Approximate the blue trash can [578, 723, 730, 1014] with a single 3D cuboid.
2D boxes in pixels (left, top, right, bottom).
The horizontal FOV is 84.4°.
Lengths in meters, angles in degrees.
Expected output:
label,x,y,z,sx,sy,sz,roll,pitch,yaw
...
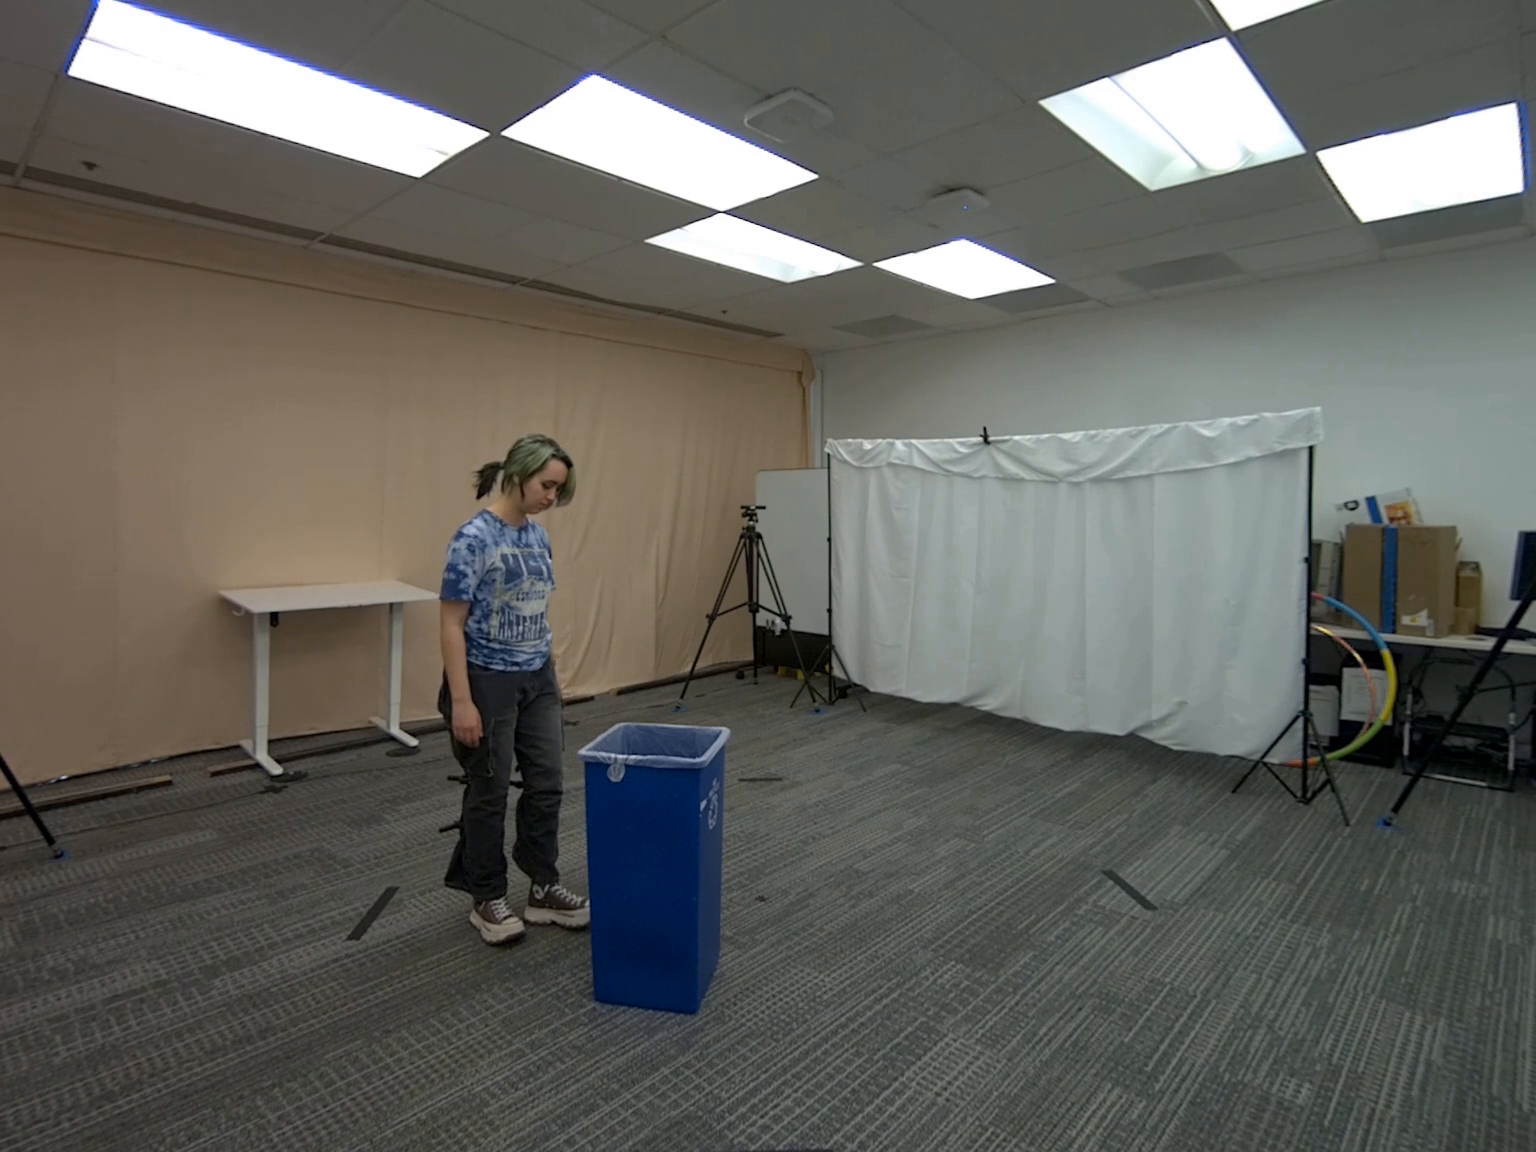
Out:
label,x,y,z,sx,sy,sz,roll,pitch,yaw
blue trash can,-0.320,0.834,2.465,0.383,0.712,0.370,1,3,11
